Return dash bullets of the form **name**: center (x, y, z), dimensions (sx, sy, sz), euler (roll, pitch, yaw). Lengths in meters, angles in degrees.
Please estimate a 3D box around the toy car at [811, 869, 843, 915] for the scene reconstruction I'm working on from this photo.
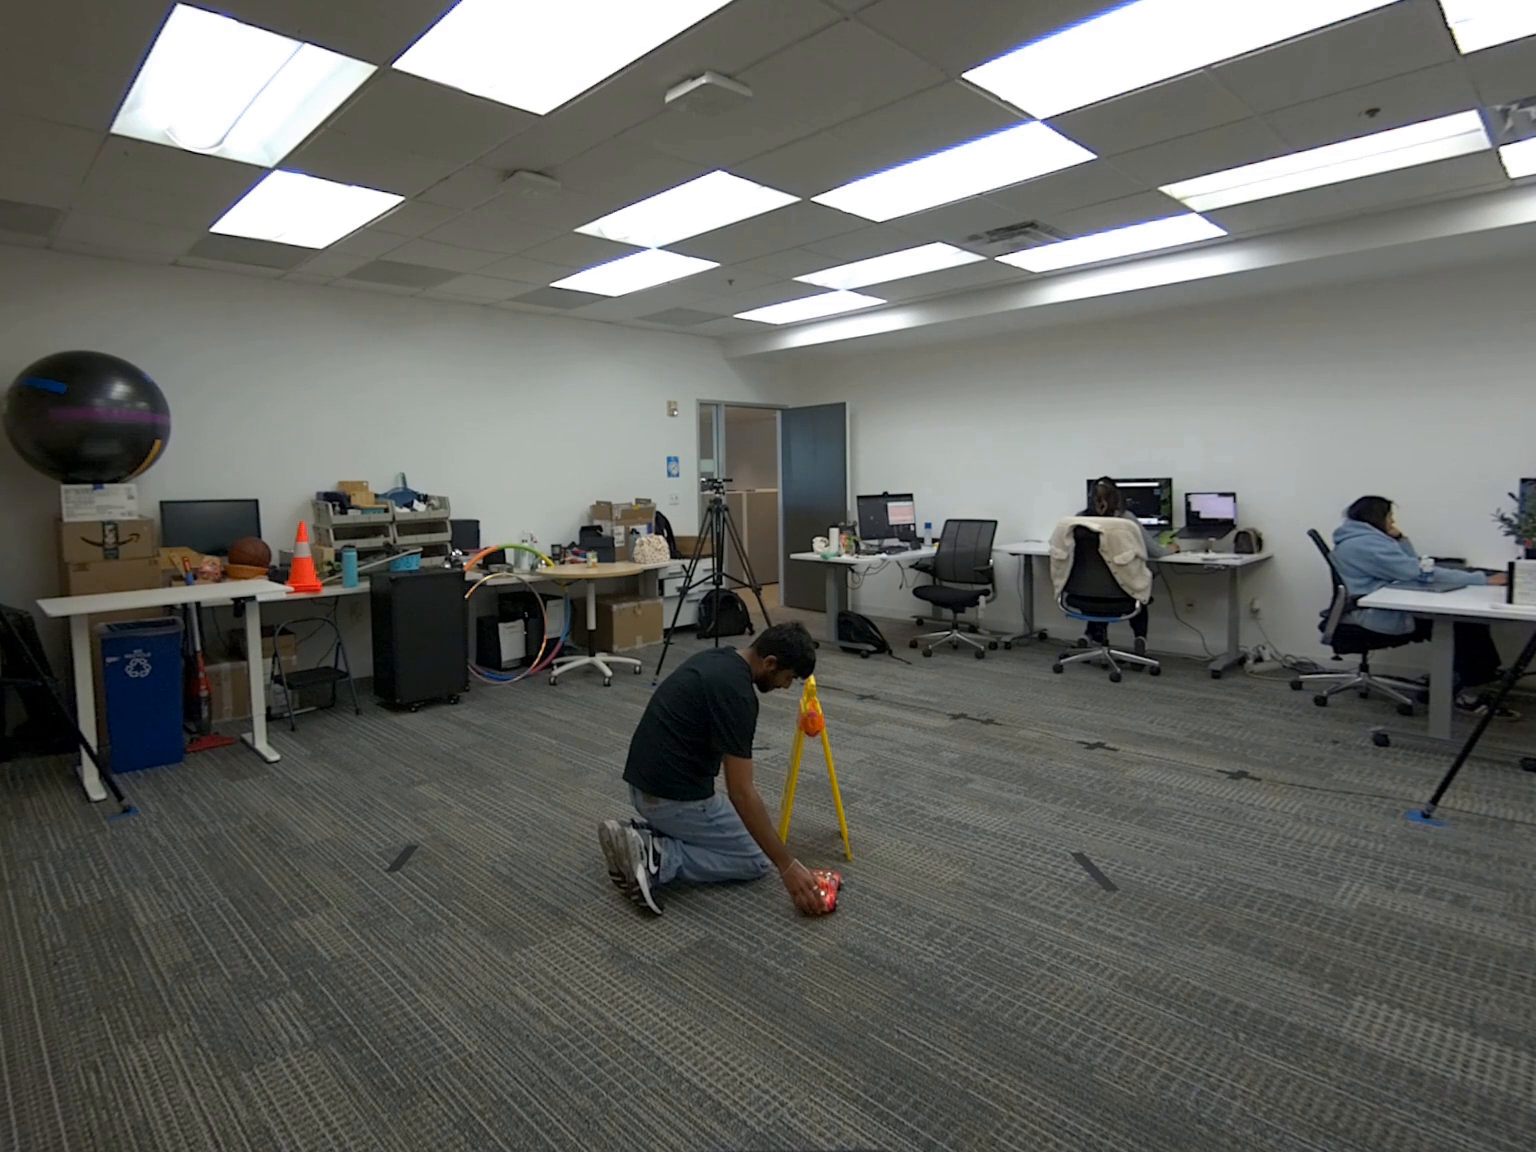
- **toy car**: center (0.173, 1.033, 2.841), dimensions (0.132, 0.083, 0.250), euler (3, -4, 13)
